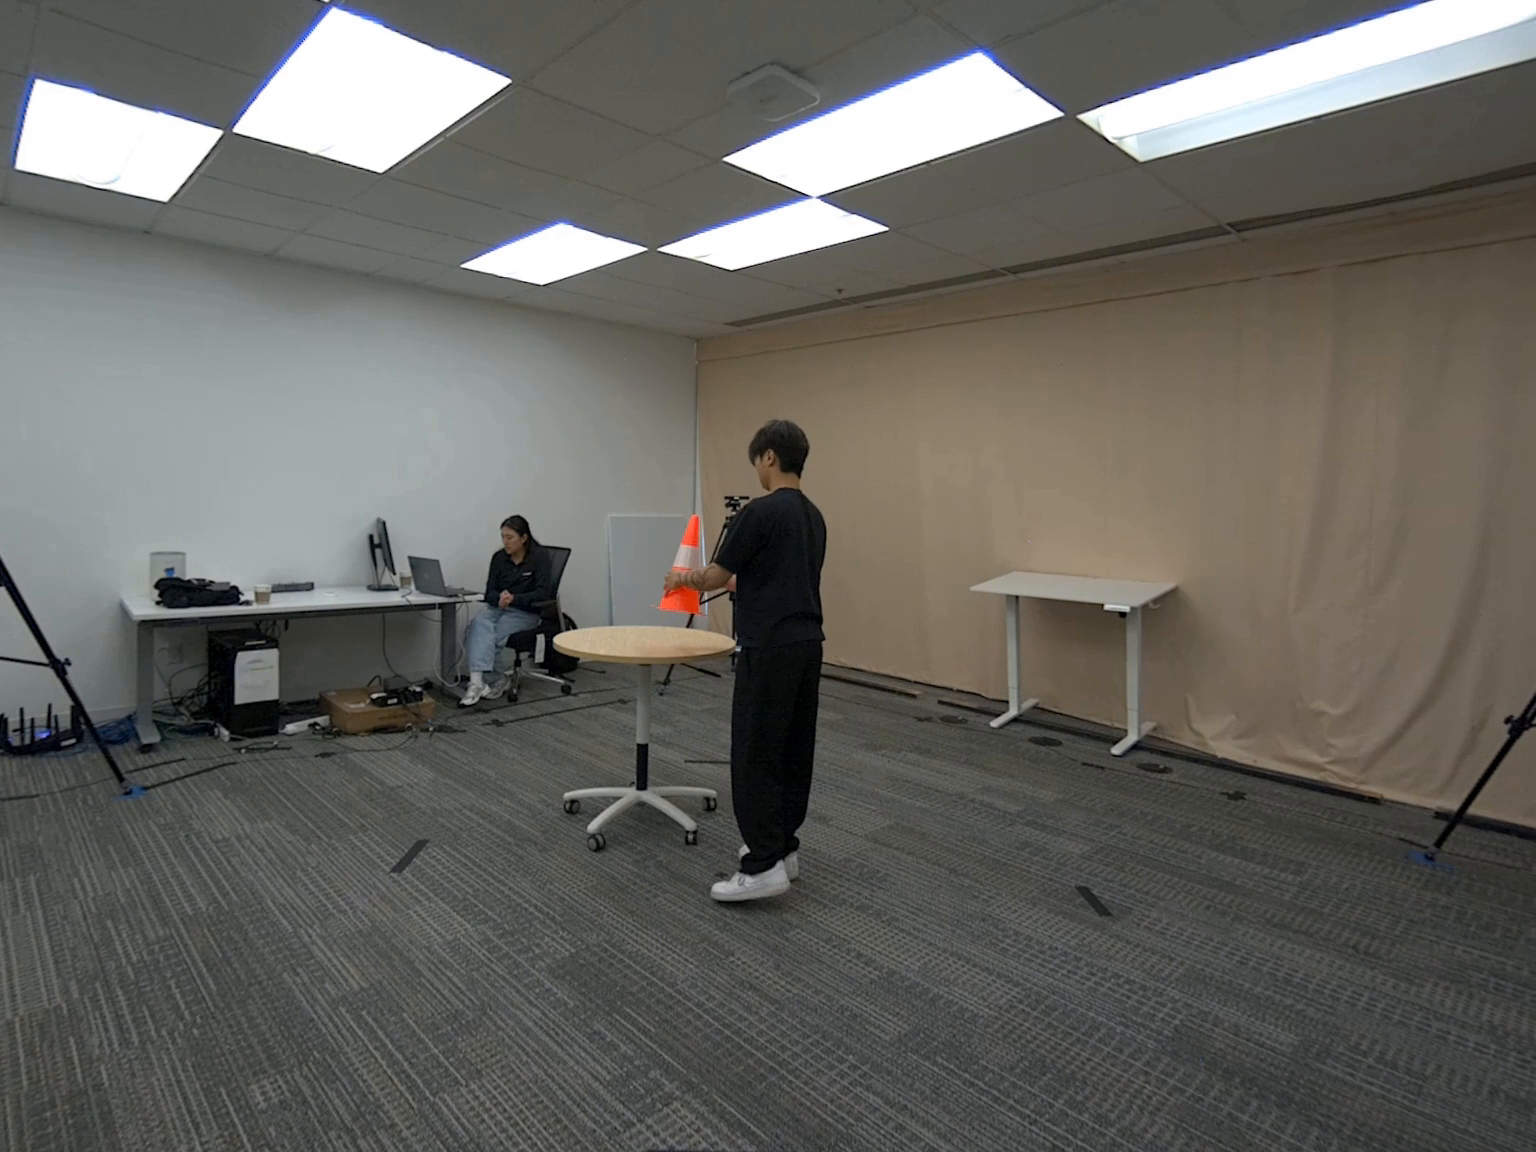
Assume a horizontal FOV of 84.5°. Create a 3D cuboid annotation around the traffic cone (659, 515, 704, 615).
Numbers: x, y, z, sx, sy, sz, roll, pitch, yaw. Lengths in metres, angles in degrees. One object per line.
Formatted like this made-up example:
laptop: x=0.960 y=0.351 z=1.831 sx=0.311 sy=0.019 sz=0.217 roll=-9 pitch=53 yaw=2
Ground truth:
traffic cone: x=-0.327 y=-0.049 z=3.328 sx=0.199 sy=0.385 sz=0.208 roll=11 pitch=-6 yaw=-26
